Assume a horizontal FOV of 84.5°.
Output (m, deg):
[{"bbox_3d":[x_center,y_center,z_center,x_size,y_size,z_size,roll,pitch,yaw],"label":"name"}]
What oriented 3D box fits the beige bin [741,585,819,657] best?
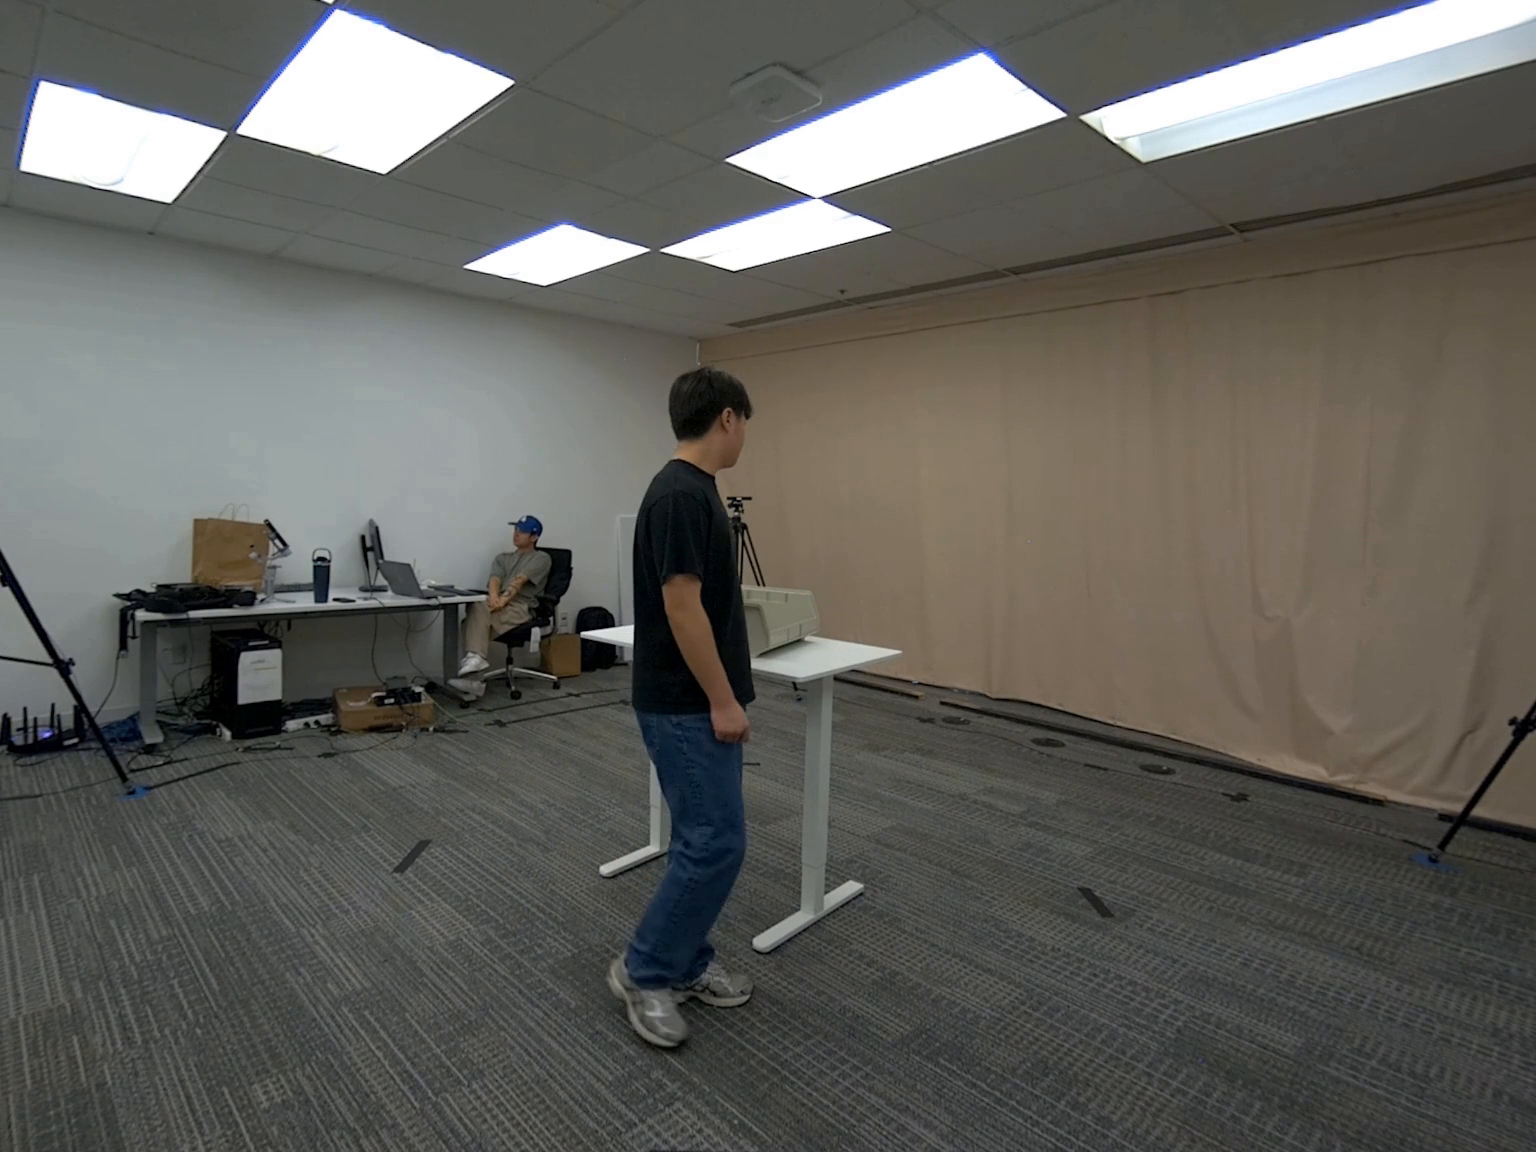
[{"bbox_3d":[-0.077,0.154,2.931,0.385,0.188,0.415,3,6,27],"label":"beige bin"}]
